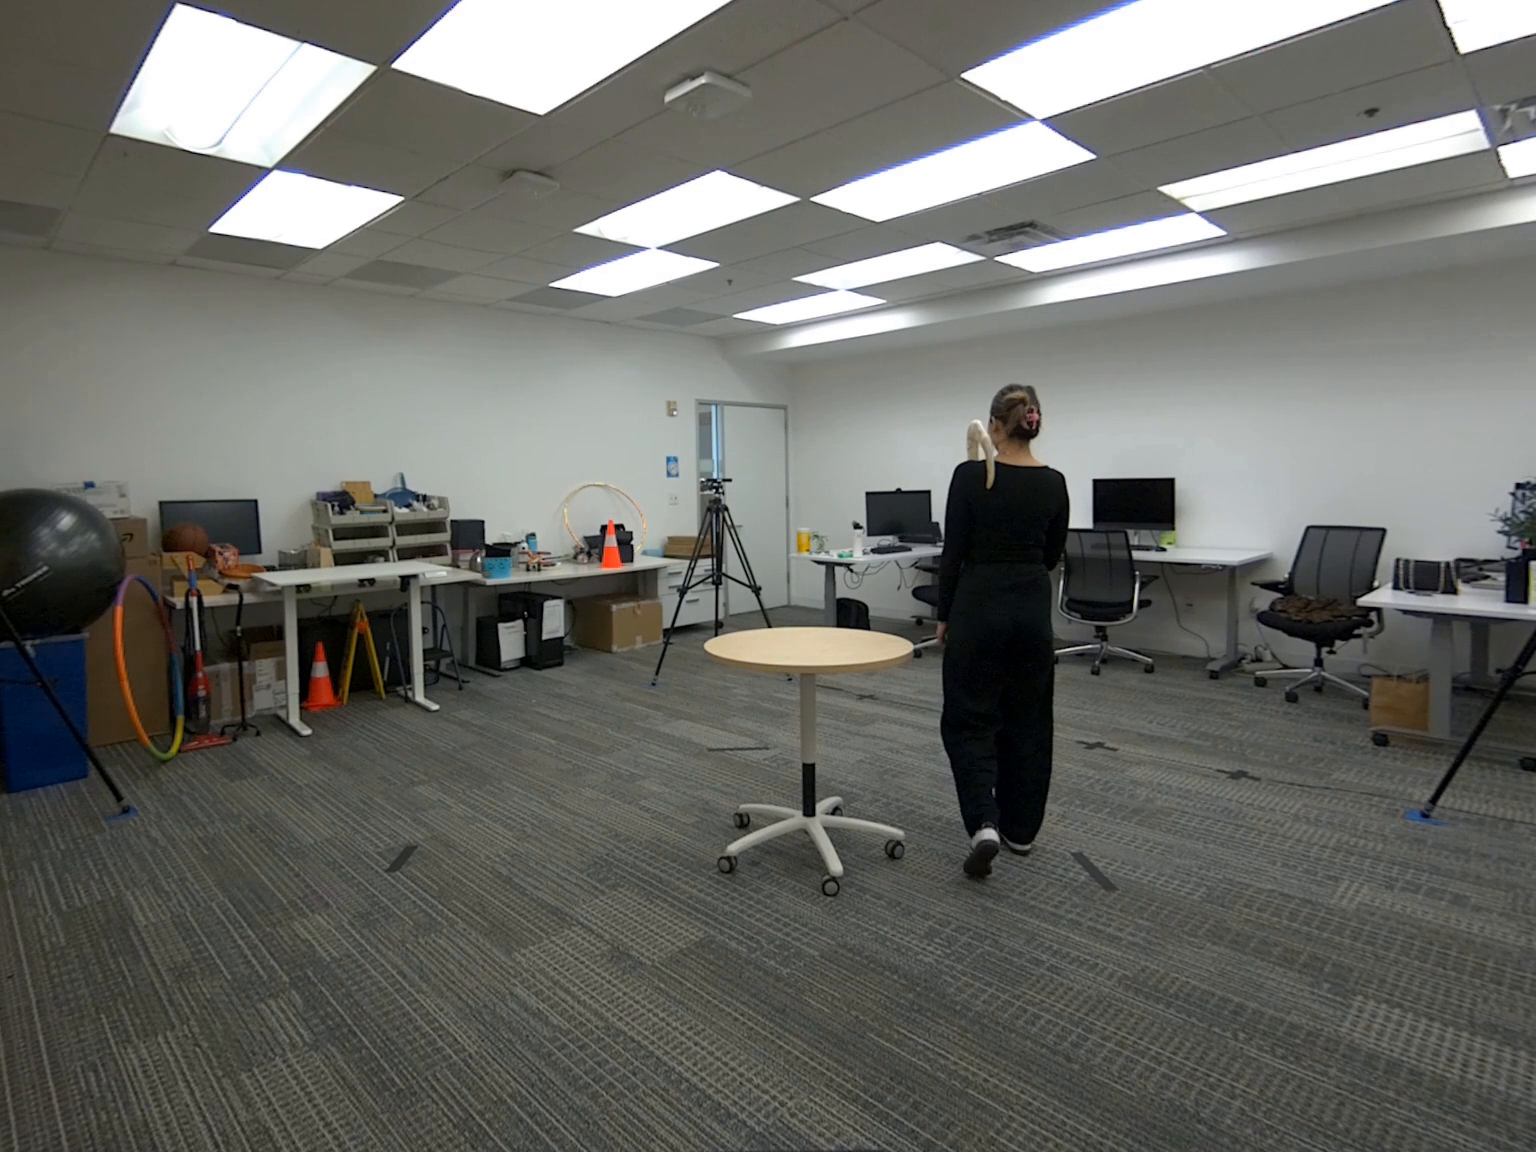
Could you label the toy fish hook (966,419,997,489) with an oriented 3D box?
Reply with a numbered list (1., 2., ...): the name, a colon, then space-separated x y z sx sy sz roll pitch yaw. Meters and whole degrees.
1. toy fish hook: 0.769 -0.329 3.080 0.048 0.491 0.231 -7 43 2
